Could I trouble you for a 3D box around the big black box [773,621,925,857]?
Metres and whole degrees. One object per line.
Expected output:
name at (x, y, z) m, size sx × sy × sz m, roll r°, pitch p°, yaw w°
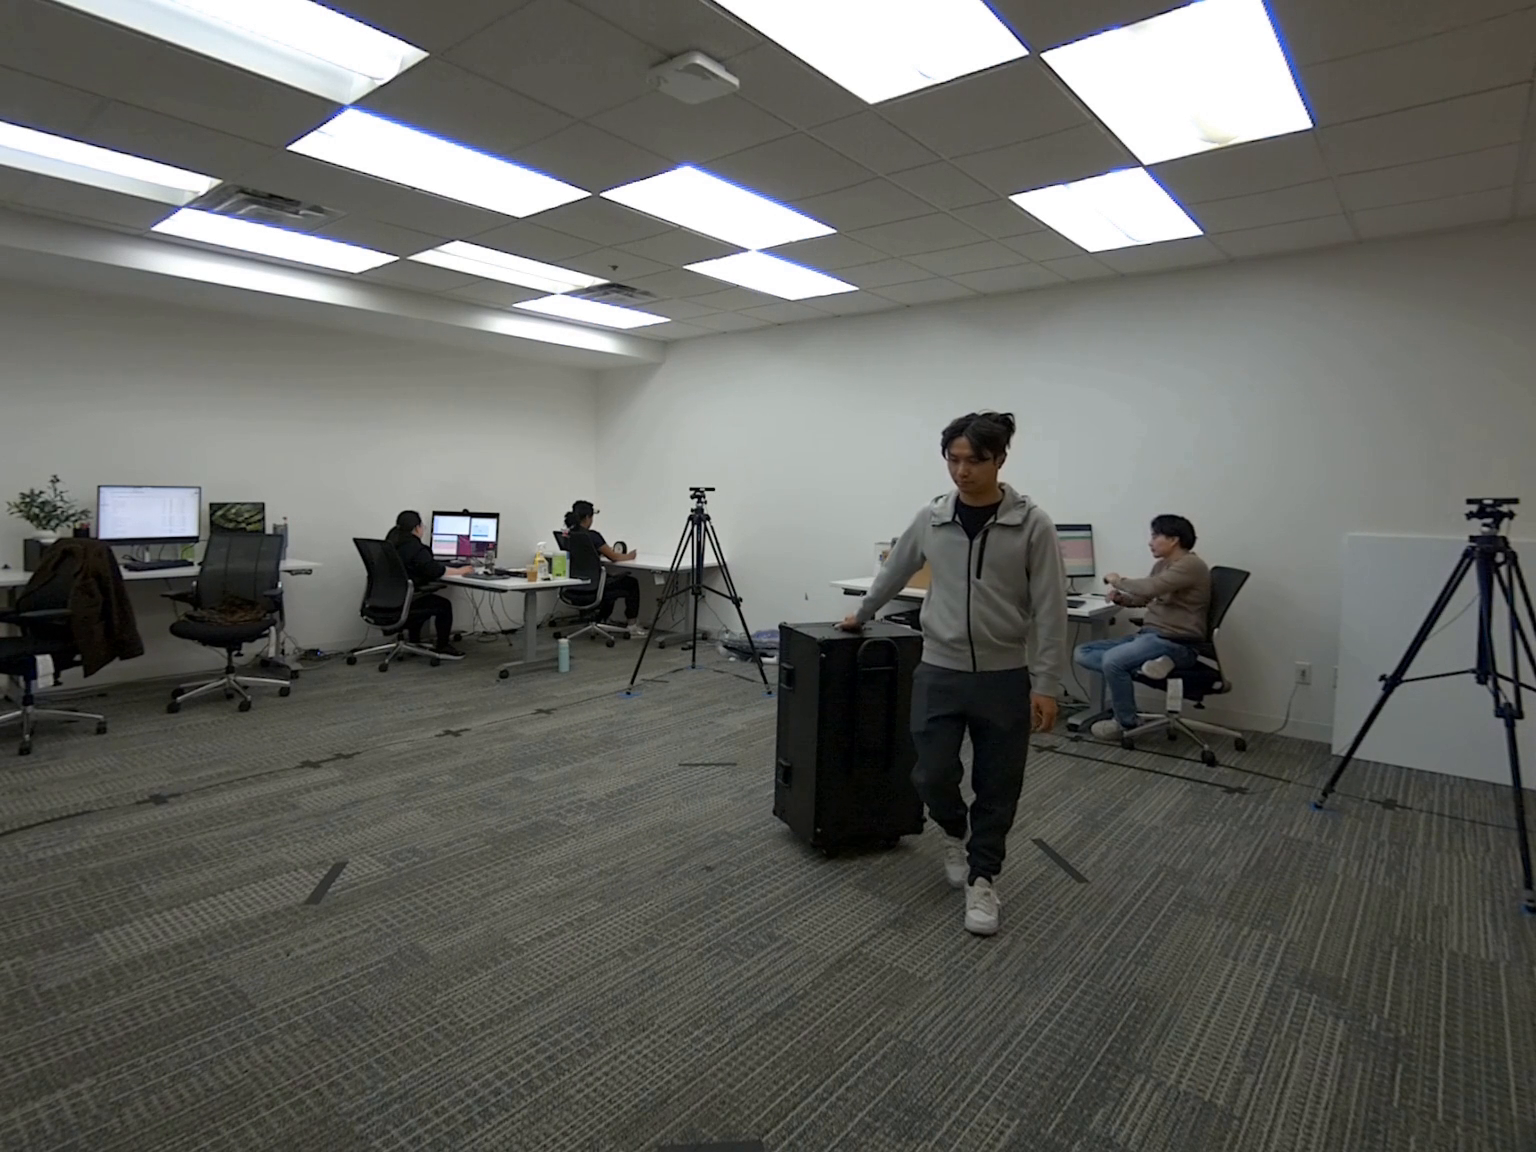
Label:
big black box at (0.323, 0.629, 3.359) m, size 0.510 × 0.857 × 0.407 m, roll 0°, pitch 5°, yaw -22°
